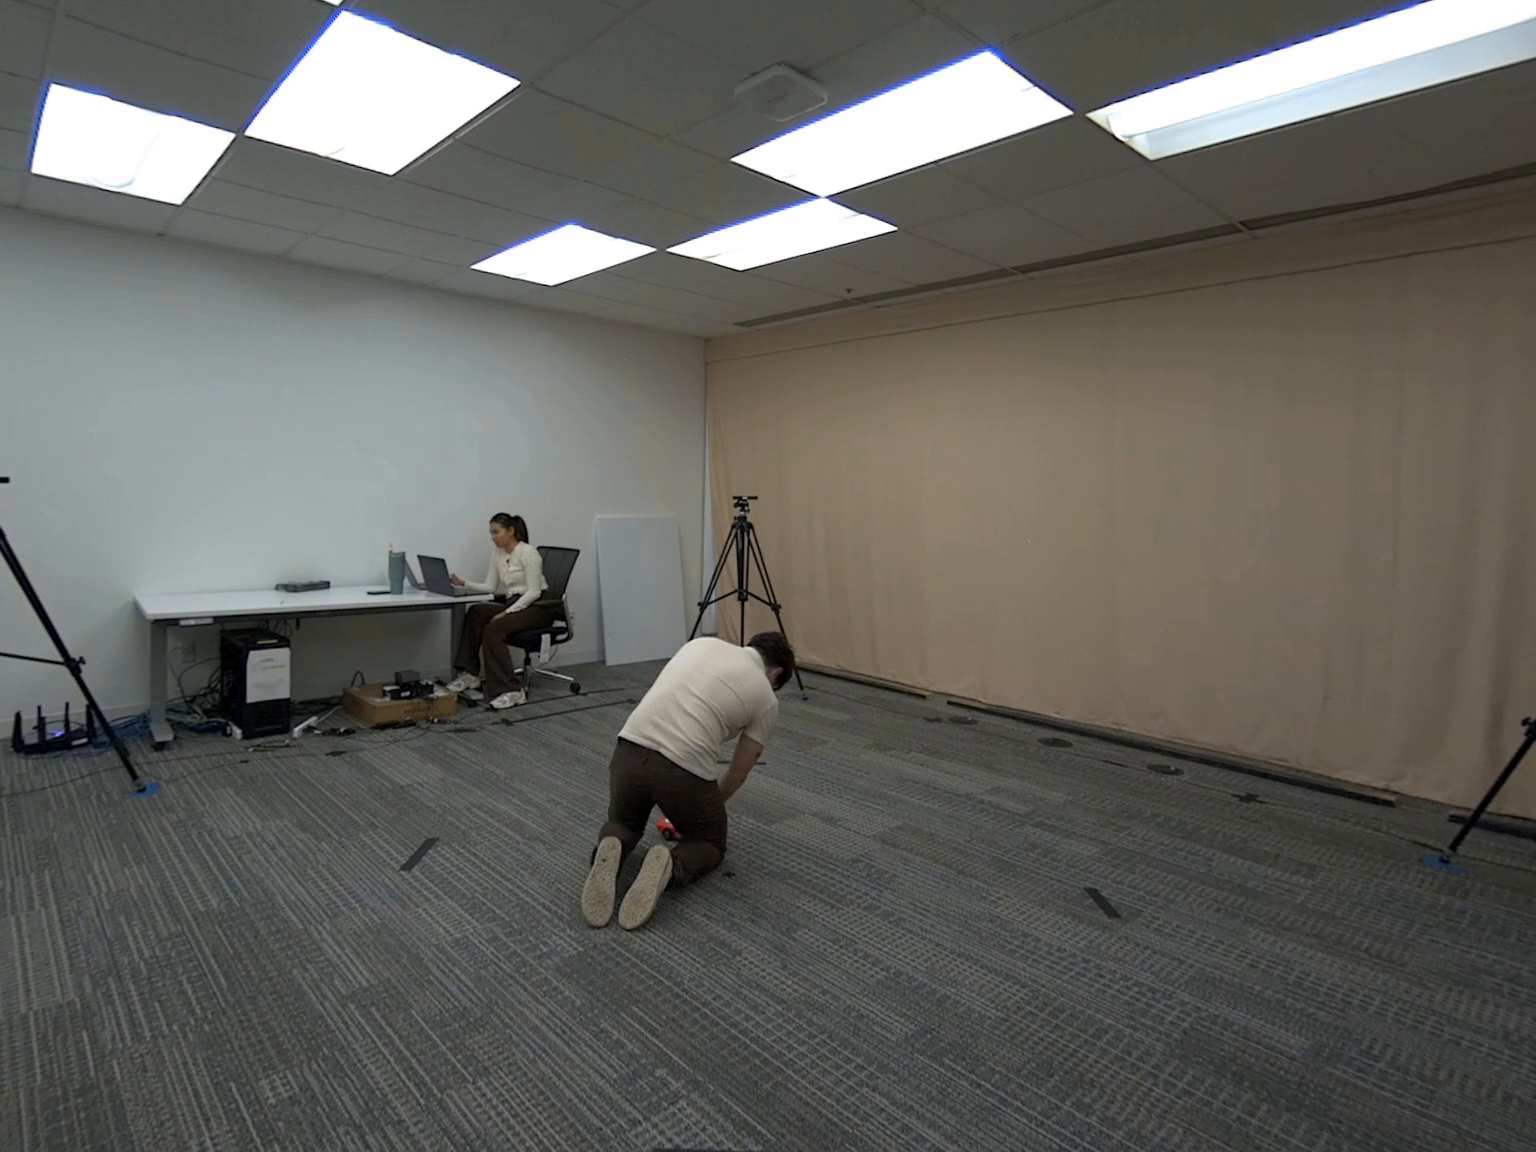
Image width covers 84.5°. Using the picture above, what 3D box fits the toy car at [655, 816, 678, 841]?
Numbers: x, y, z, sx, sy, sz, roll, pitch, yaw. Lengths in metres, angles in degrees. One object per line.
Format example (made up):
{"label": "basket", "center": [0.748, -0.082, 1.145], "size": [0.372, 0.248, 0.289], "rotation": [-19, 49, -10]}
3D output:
{"label": "toy car", "center": [-0.345, 1.039, 3.428], "size": [0.260, 0.083, 0.128], "rotation": [16, 10, 26]}
